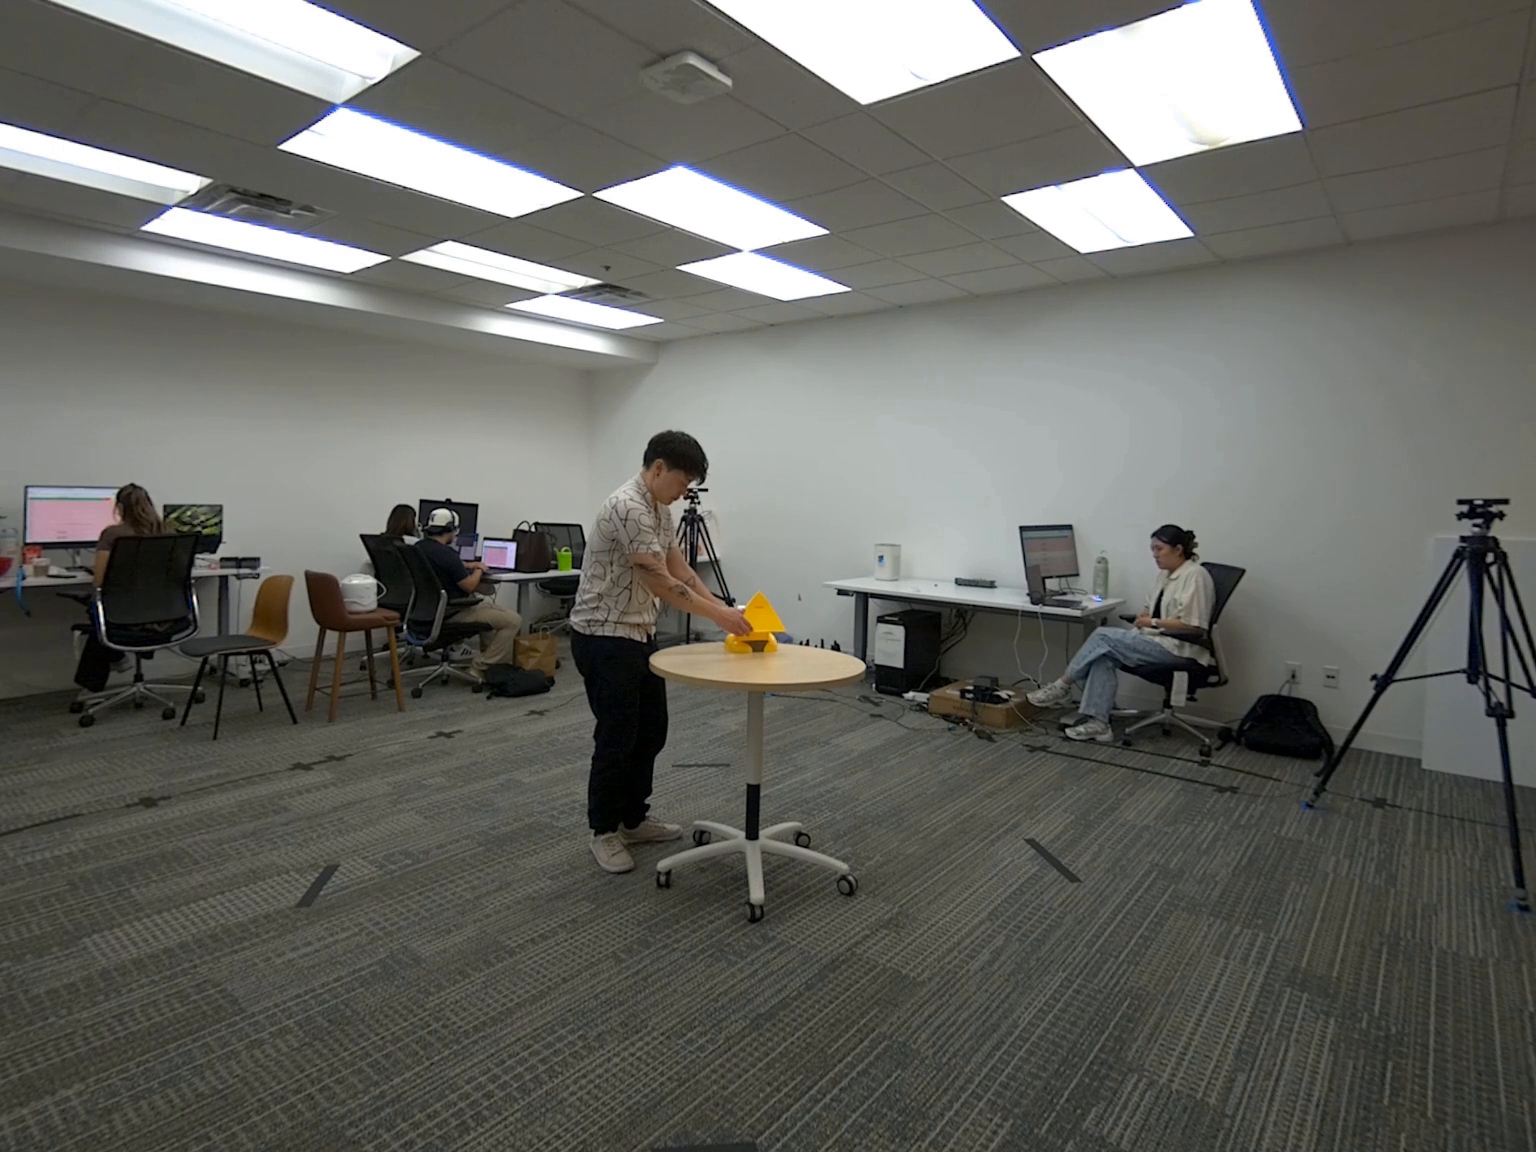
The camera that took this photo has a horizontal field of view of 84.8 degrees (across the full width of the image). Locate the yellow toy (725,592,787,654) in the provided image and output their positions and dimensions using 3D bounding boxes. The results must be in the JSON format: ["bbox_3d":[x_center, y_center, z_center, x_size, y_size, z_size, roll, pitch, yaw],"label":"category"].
[{"bbox_3d":[-0.071,0.167,3.253,0.201,0.230,0.197,0,2,-21],"label":"yellow toy"}]
